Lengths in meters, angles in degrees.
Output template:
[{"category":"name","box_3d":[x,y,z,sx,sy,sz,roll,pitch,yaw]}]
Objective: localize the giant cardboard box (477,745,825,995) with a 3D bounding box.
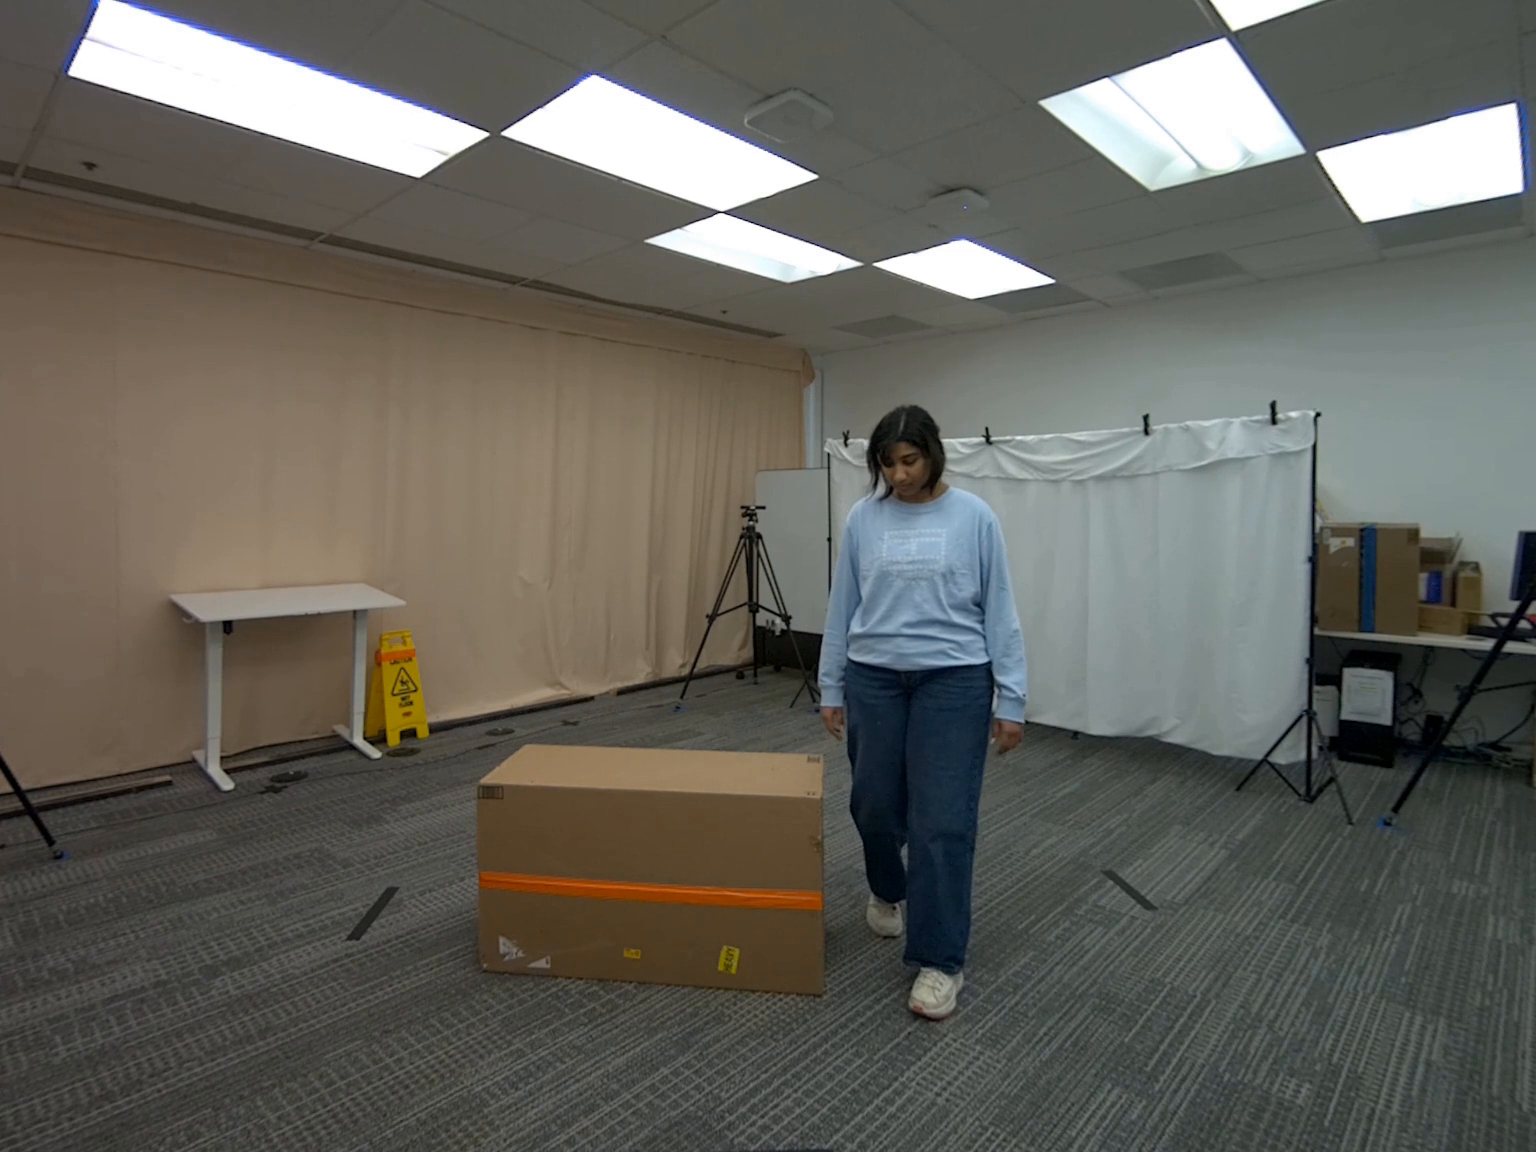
[{"category":"giant cardboard box","box_3d":[-0.340,0.883,2.644,1.035,0.576,0.424,1,4,7]}]
